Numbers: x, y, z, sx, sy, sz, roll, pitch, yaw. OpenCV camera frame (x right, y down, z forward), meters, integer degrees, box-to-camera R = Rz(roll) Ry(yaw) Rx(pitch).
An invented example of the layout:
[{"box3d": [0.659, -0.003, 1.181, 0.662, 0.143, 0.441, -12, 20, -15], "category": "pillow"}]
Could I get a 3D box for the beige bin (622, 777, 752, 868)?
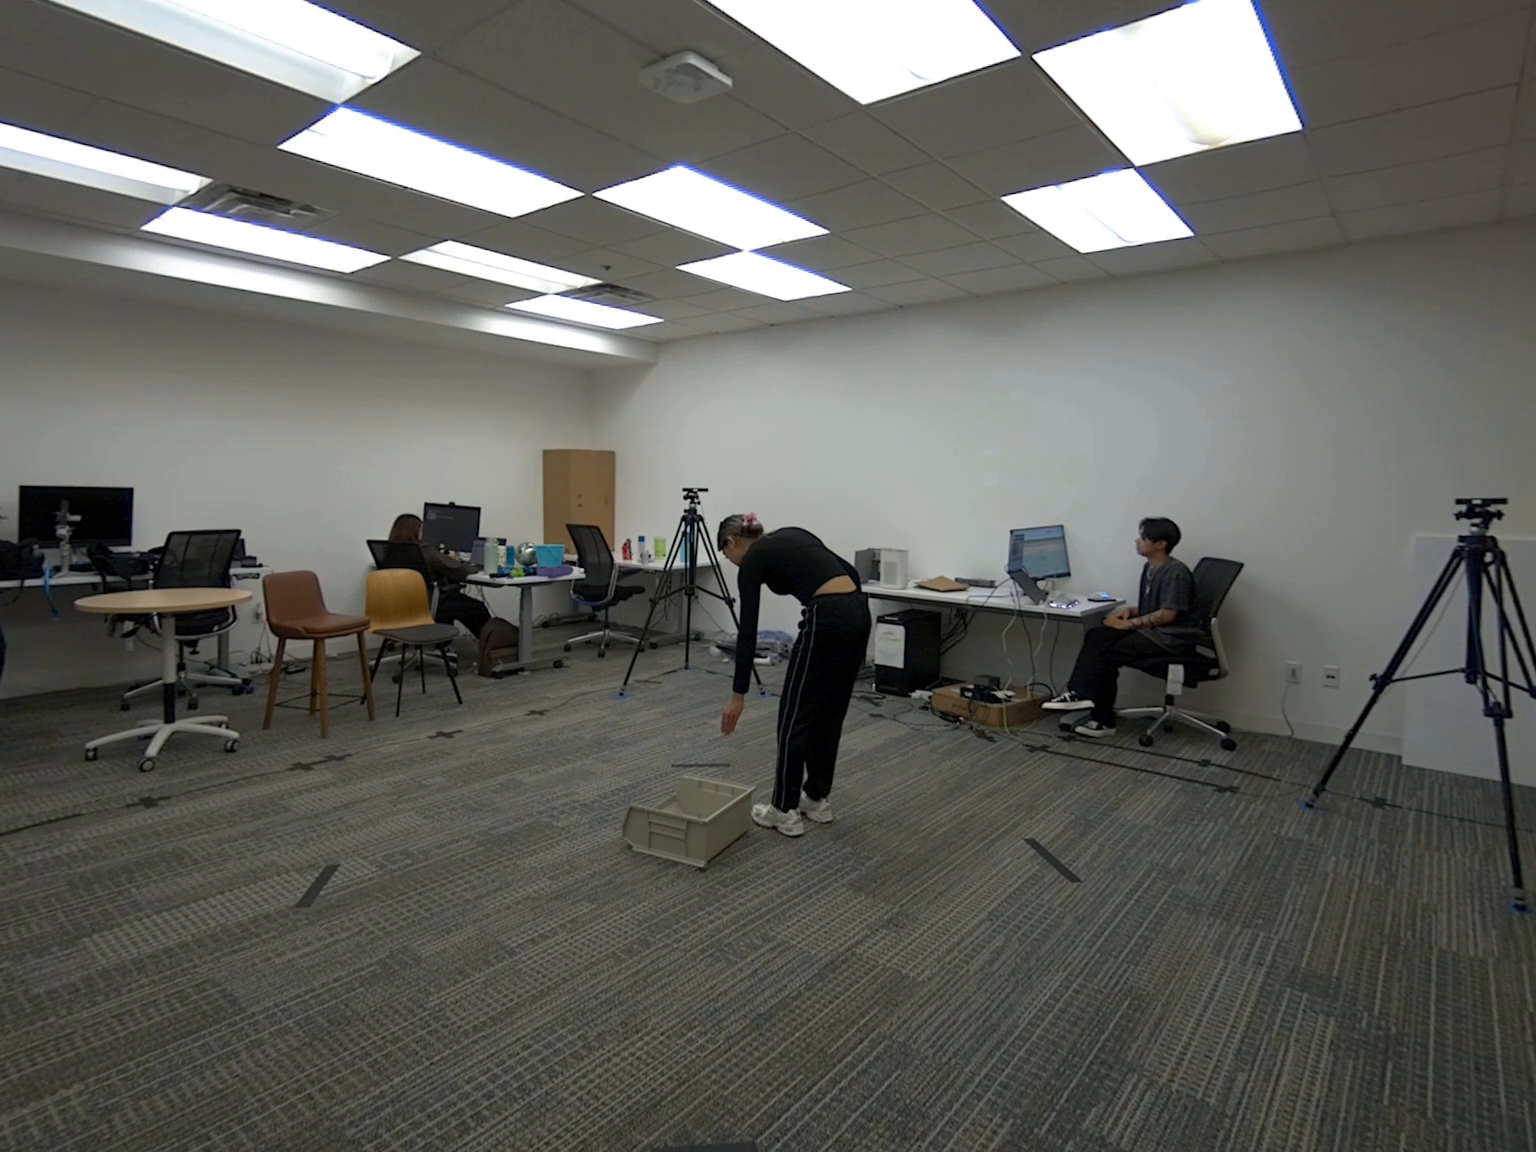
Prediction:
[{"box3d": [-0.318, 0.956, 3.375, 0.388, 0.188, 0.412, 4, 5, 26], "category": "beige bin"}]
